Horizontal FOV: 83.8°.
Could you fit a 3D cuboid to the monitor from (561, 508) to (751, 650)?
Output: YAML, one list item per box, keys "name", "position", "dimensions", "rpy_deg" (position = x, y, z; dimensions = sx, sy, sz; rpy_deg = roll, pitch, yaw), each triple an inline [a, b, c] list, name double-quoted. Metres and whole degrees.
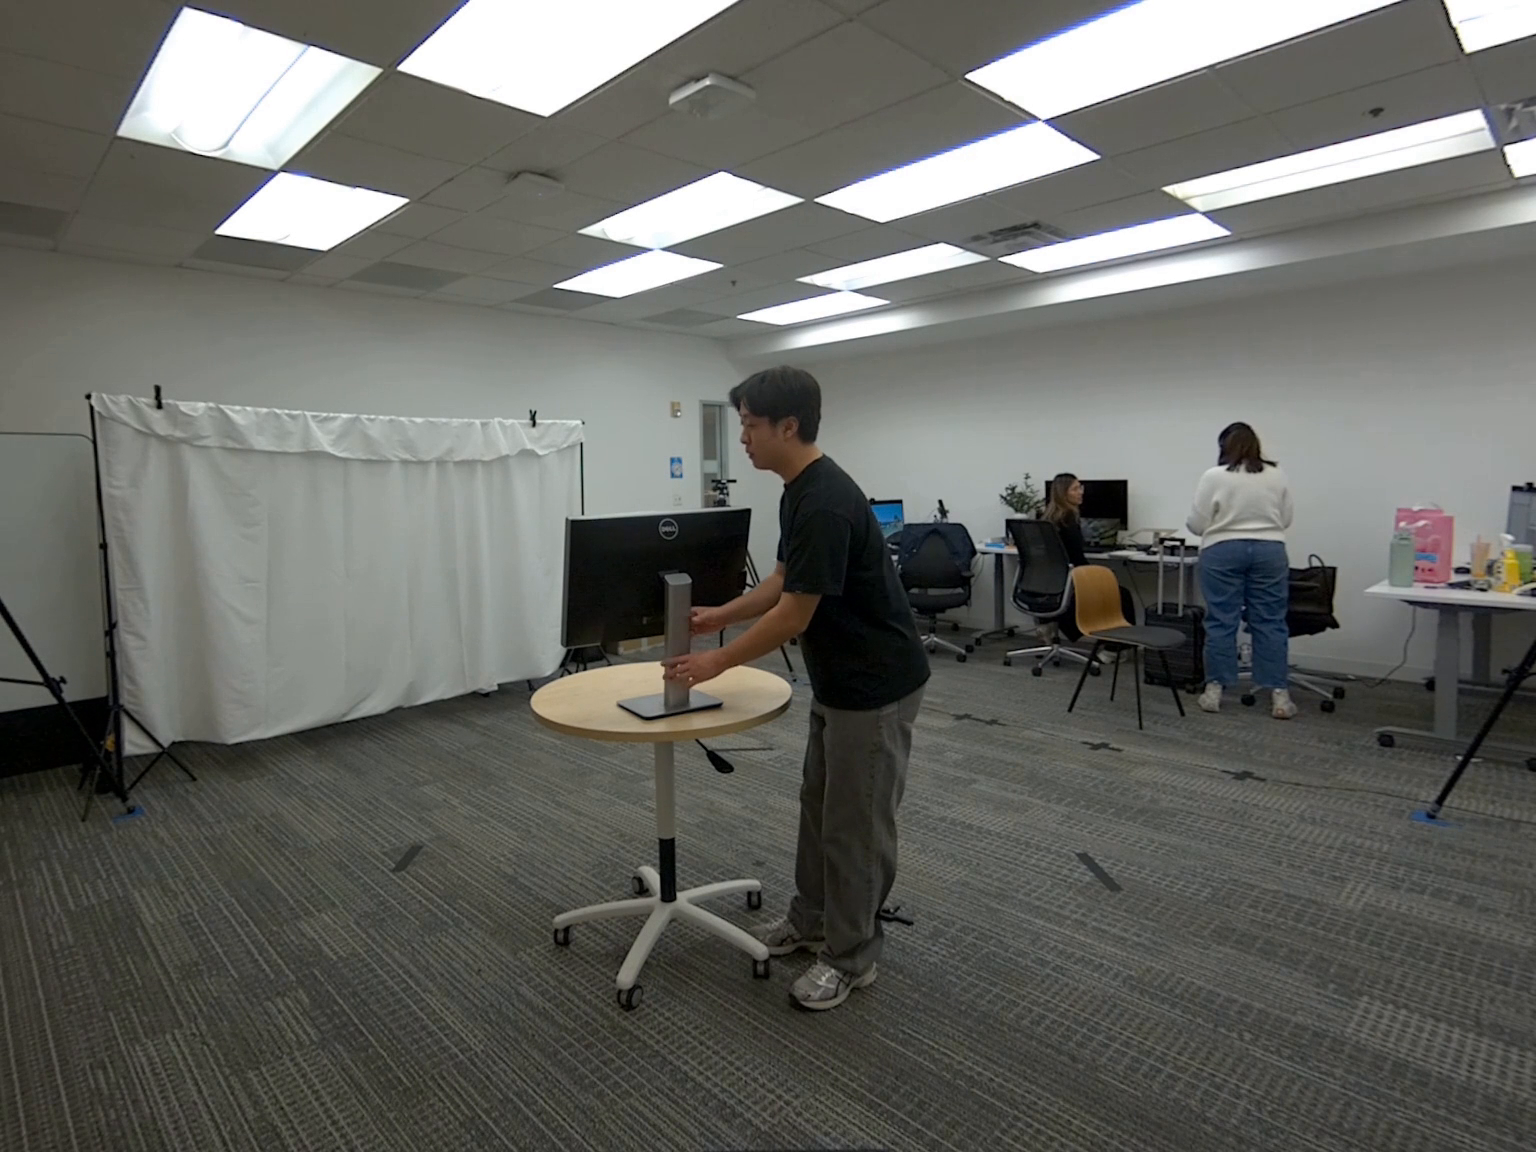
- name: "monitor"
  position: [-0.278, 0.103, 2.357]
  dimensions: [0.549, 0.565, 0.228]
  rpy_deg: [-4, 3, -28]
